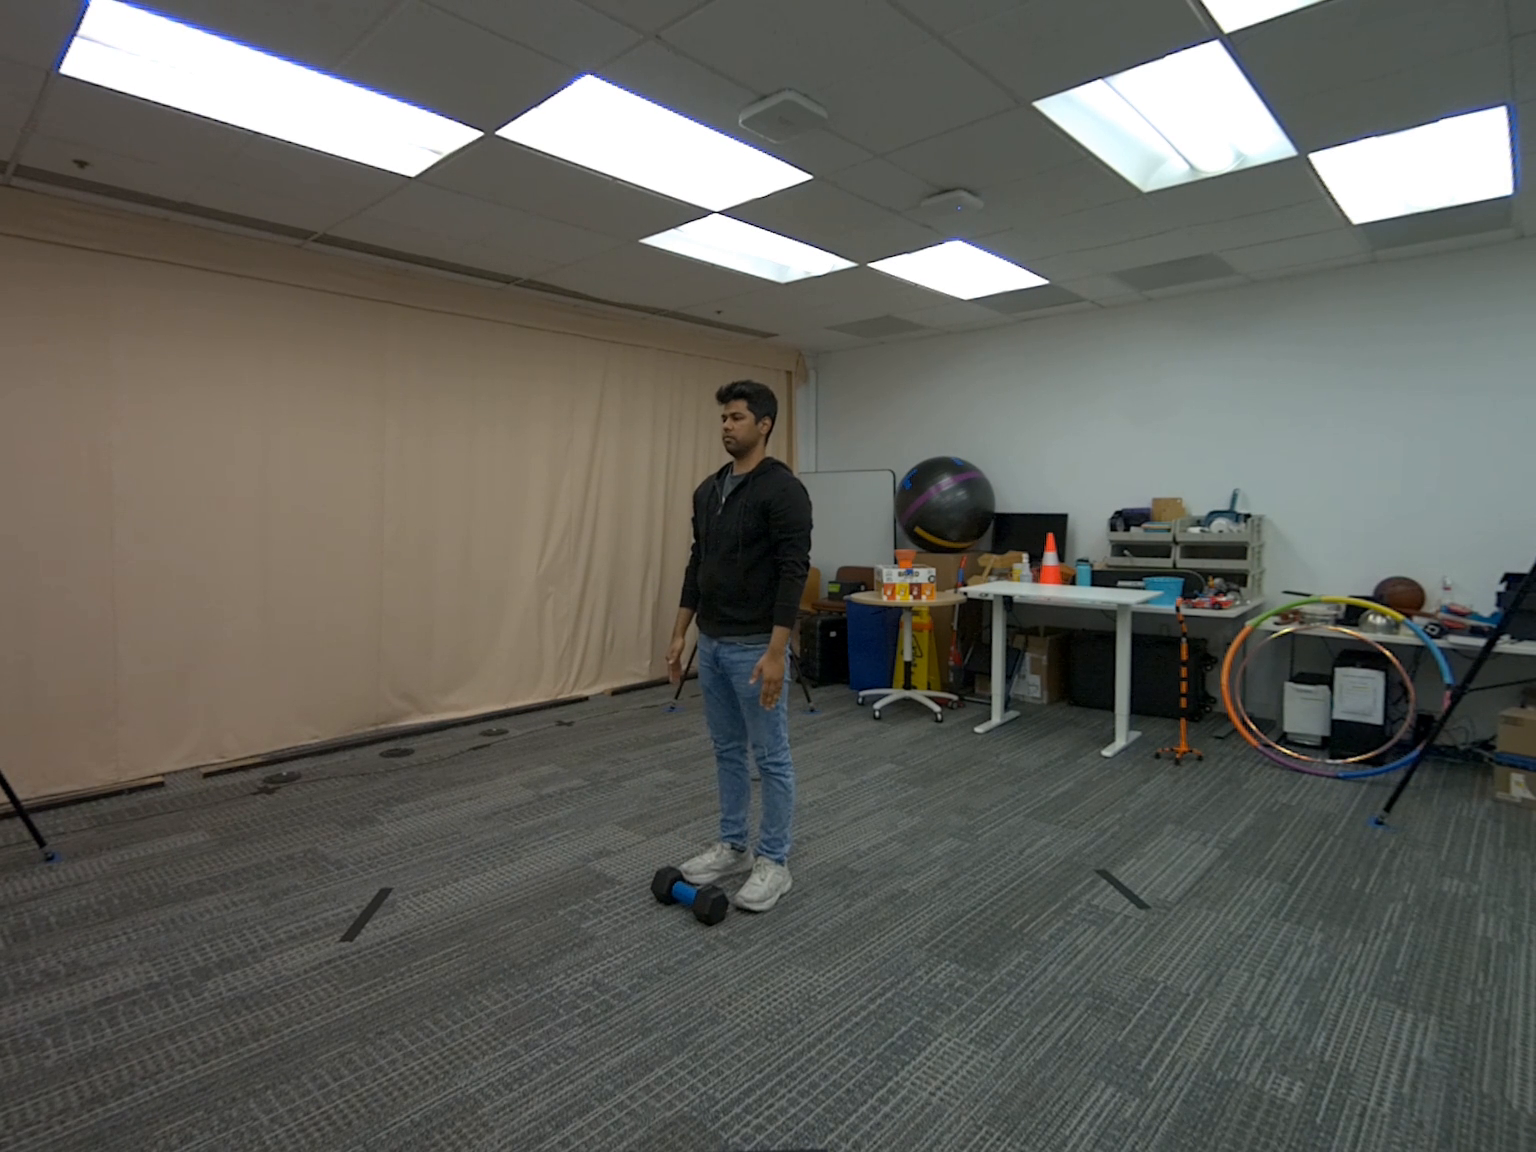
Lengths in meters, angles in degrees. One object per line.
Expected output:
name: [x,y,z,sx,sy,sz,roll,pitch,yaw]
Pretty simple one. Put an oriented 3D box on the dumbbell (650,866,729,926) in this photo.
dumbbell: [-0.270,1.099,2.897,0.303,0.108,0.119,5,6,43]
